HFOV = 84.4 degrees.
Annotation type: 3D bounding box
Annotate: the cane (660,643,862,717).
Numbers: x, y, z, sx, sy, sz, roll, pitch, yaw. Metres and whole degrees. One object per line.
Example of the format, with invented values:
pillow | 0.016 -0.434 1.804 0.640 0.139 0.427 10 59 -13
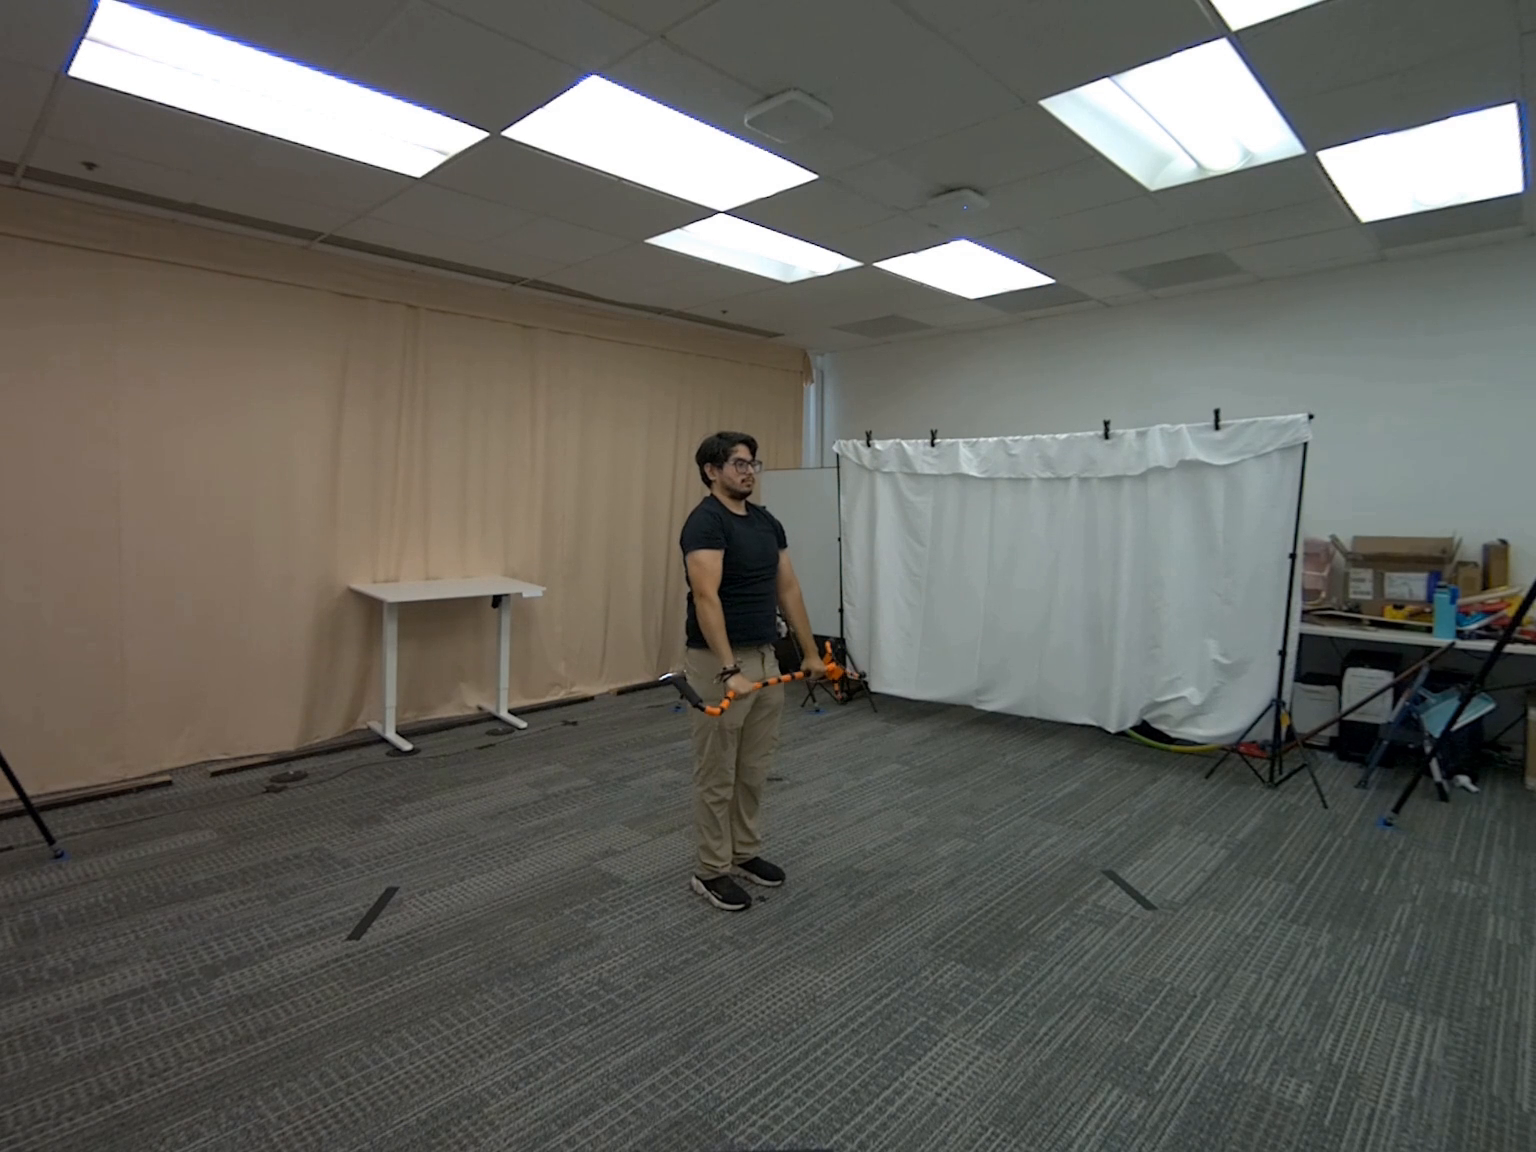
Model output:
cane | 0.040 0.371 2.873 0.213 0.151 0.881 43 25 27
